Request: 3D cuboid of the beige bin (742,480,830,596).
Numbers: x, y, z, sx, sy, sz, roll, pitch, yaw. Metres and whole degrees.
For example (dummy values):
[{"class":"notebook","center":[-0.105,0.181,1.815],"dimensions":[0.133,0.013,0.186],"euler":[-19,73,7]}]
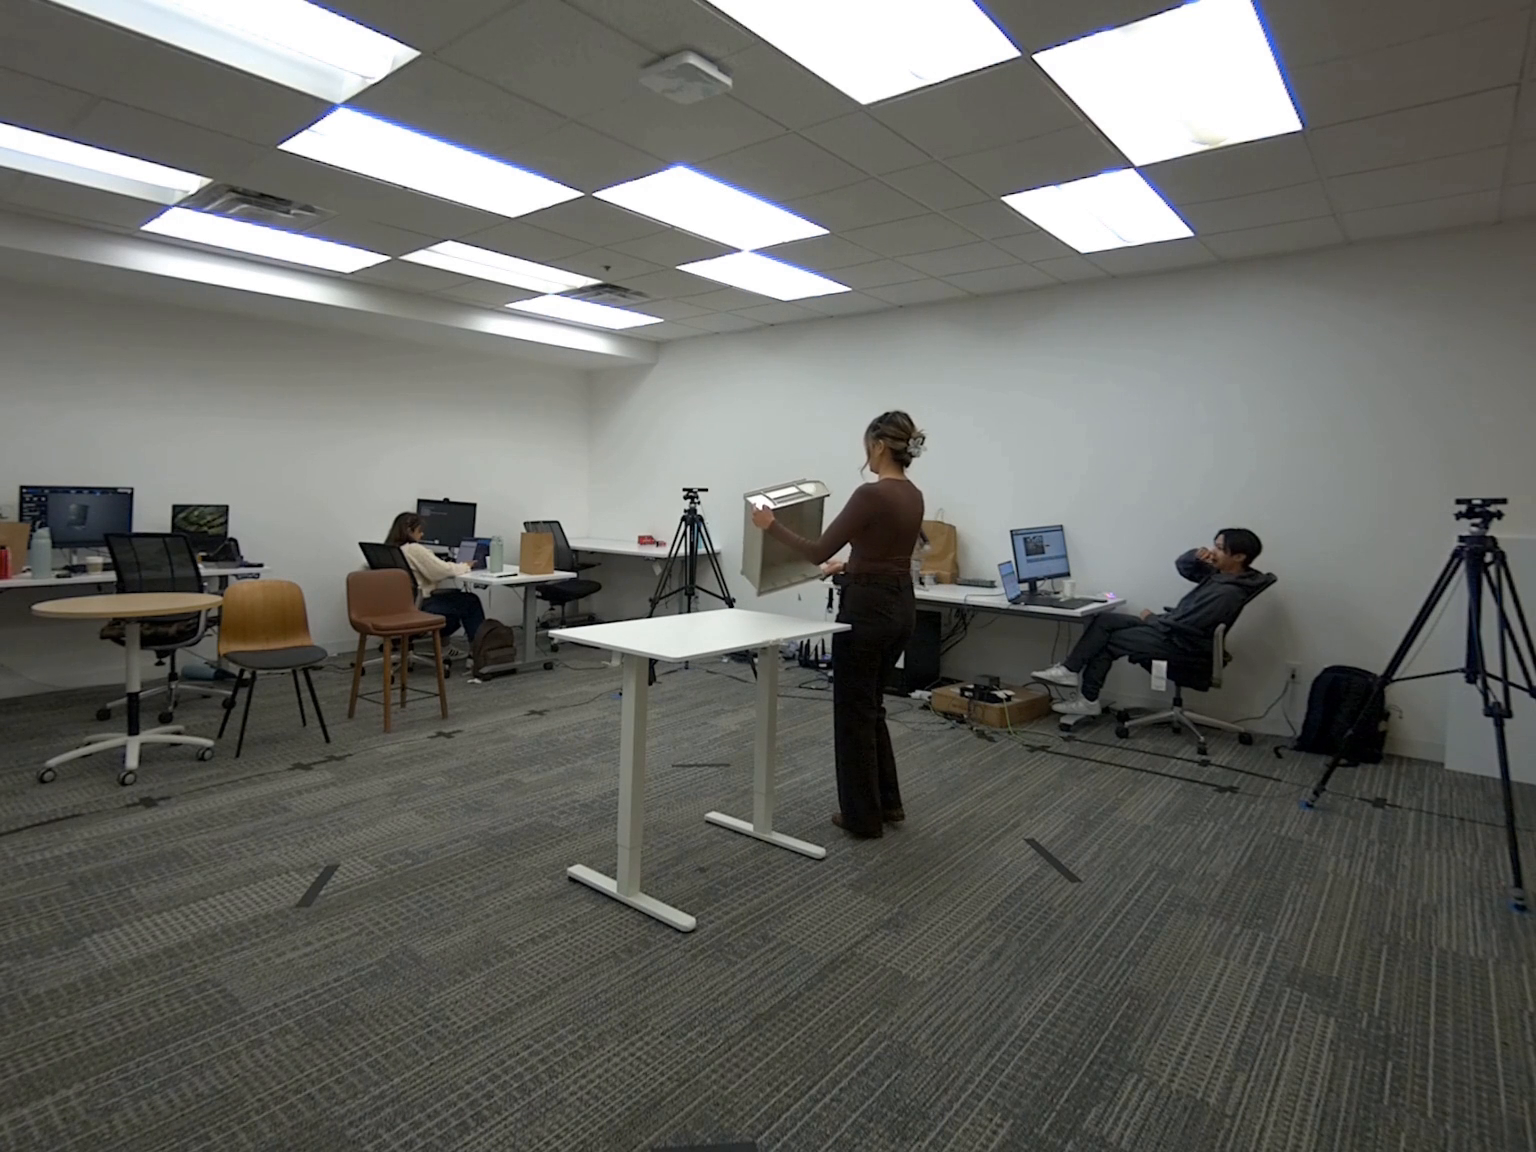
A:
[{"class":"beige bin","center":[0.075,-0.178,3.672],"dimensions":[0.370,0.412,0.197],"euler":[-14,35,-25]}]
